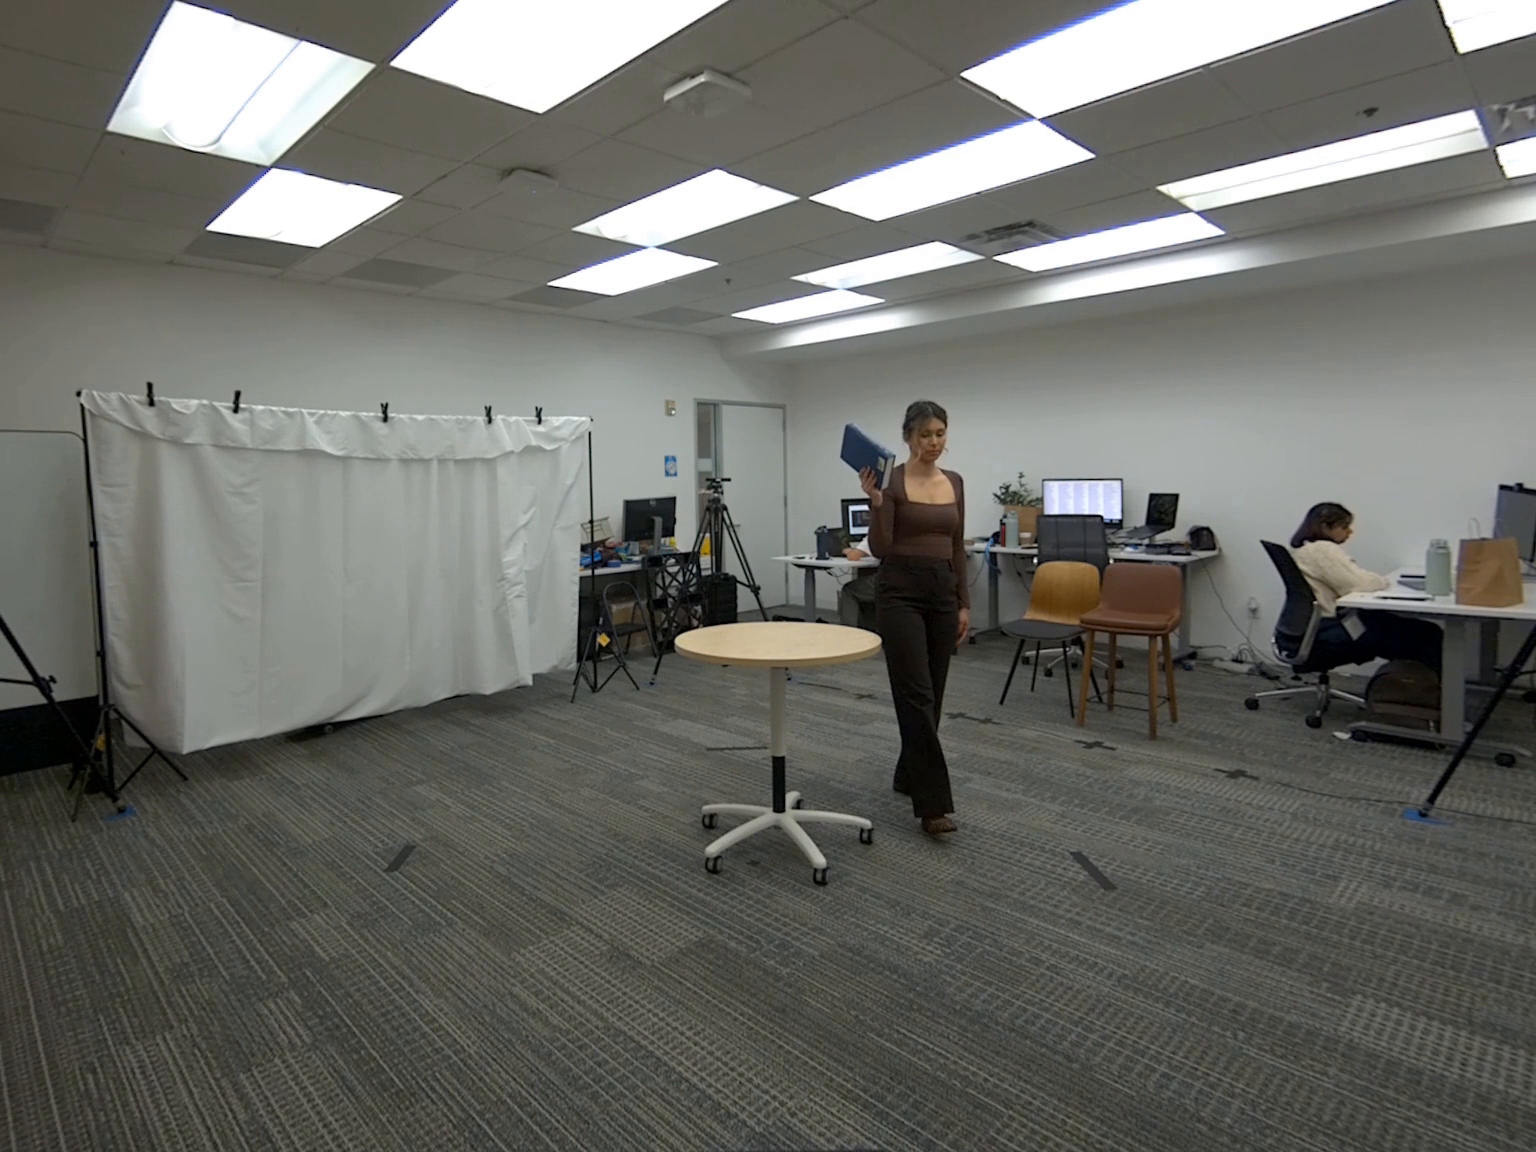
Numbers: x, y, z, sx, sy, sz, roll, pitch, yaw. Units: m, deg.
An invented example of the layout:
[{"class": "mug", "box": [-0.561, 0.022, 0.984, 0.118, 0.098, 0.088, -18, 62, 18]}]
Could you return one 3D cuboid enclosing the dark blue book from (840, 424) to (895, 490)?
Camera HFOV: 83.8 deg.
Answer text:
[{"class": "dark blue book", "box": [0.384, -0.462, 3.292, 0.044, 0.159, 0.254, -24, 50, -26]}]
